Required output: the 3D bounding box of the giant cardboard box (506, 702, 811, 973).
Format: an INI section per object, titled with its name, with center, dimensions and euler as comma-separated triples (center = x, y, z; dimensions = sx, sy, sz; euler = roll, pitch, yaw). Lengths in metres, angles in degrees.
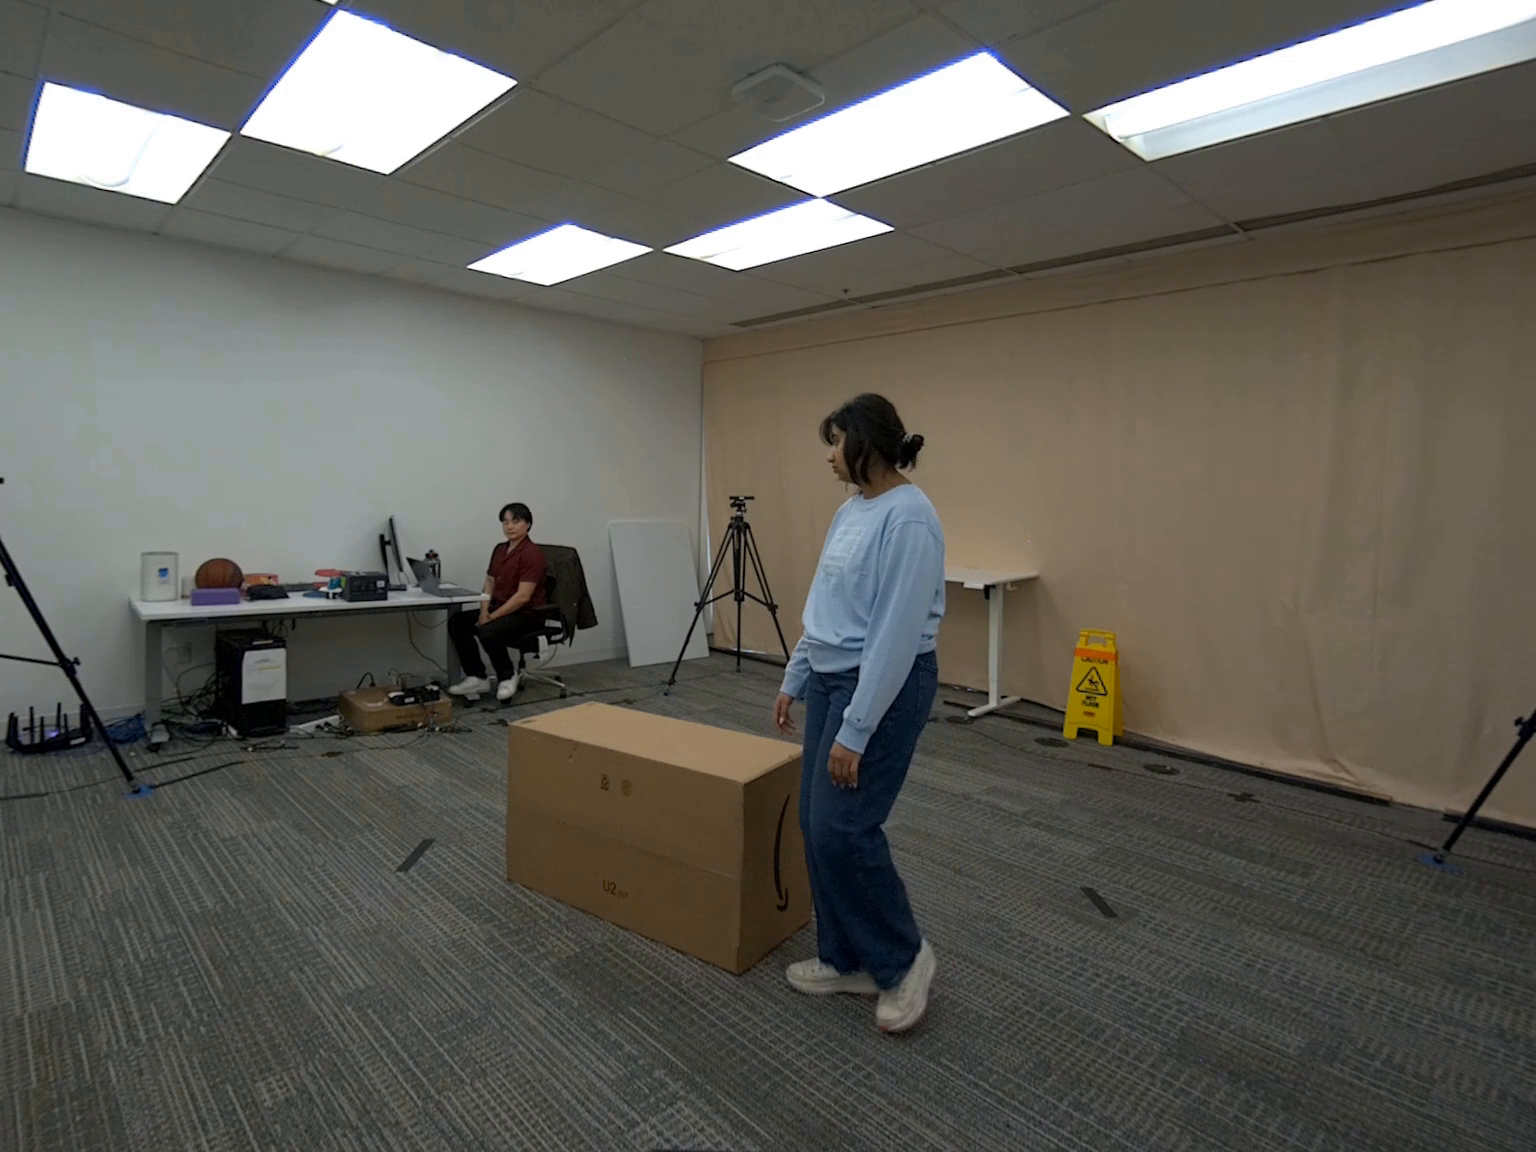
[giant cardboard box]
center = -0.397, 0.832, 2.895
dimensions = 1.052, 0.582, 0.437
euler = 5, 6, 35
